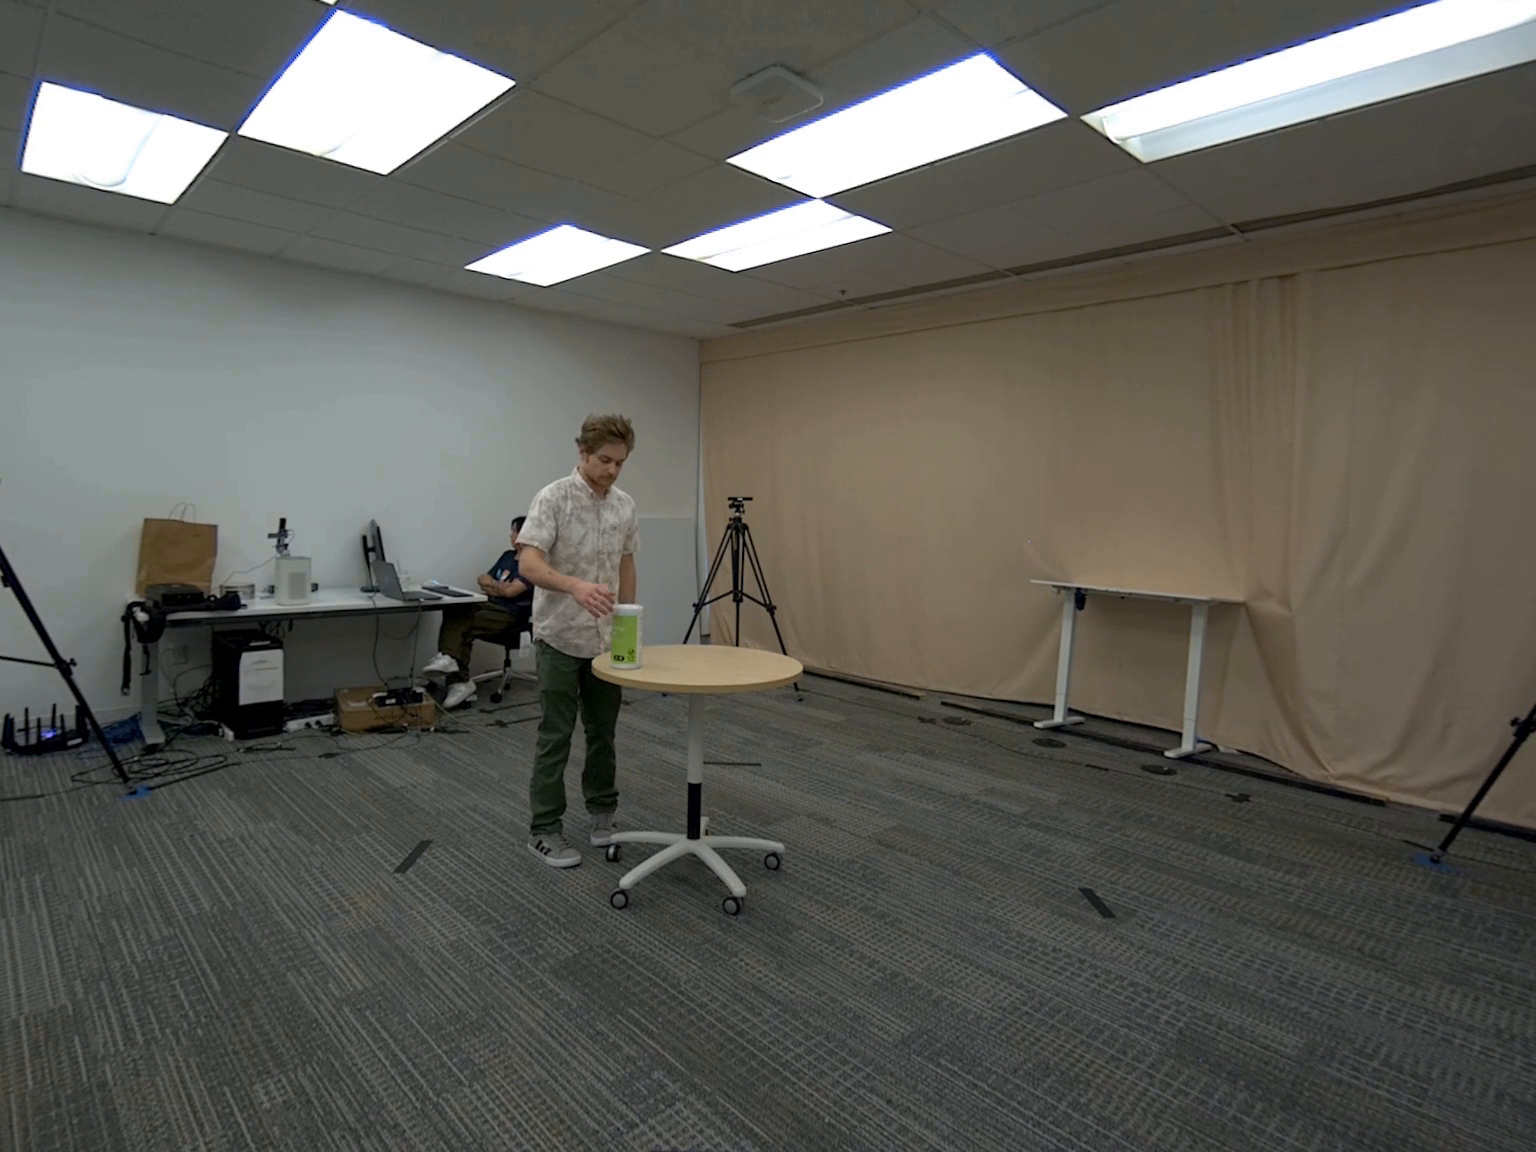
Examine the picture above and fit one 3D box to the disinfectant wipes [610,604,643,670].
[{"bbox_3d":[-0.496,0.213,2.944,0.118,0.217,0.118,3,5,-2],"label":"disinfectant wipes"}]
